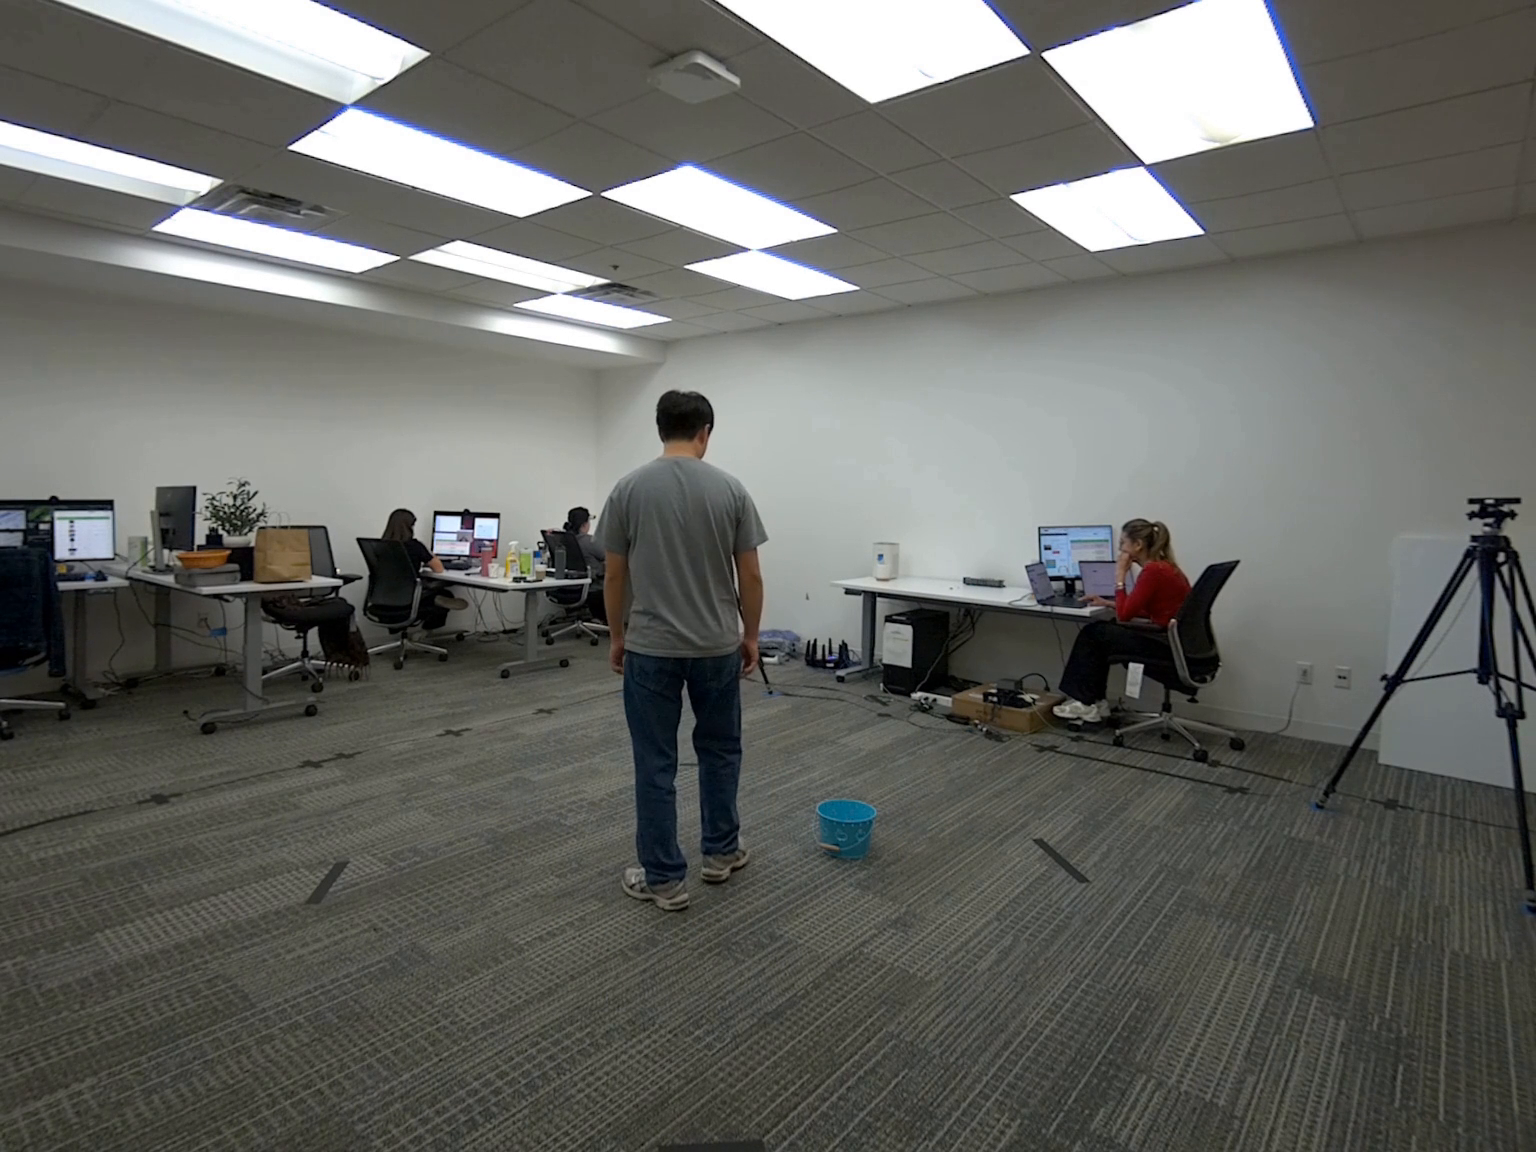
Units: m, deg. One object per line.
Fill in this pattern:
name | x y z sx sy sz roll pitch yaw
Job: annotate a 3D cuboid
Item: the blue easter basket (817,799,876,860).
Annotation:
blue easter basket | 0.289 0.978 3.307 0.243 0.155 0.245 1 5 -2
